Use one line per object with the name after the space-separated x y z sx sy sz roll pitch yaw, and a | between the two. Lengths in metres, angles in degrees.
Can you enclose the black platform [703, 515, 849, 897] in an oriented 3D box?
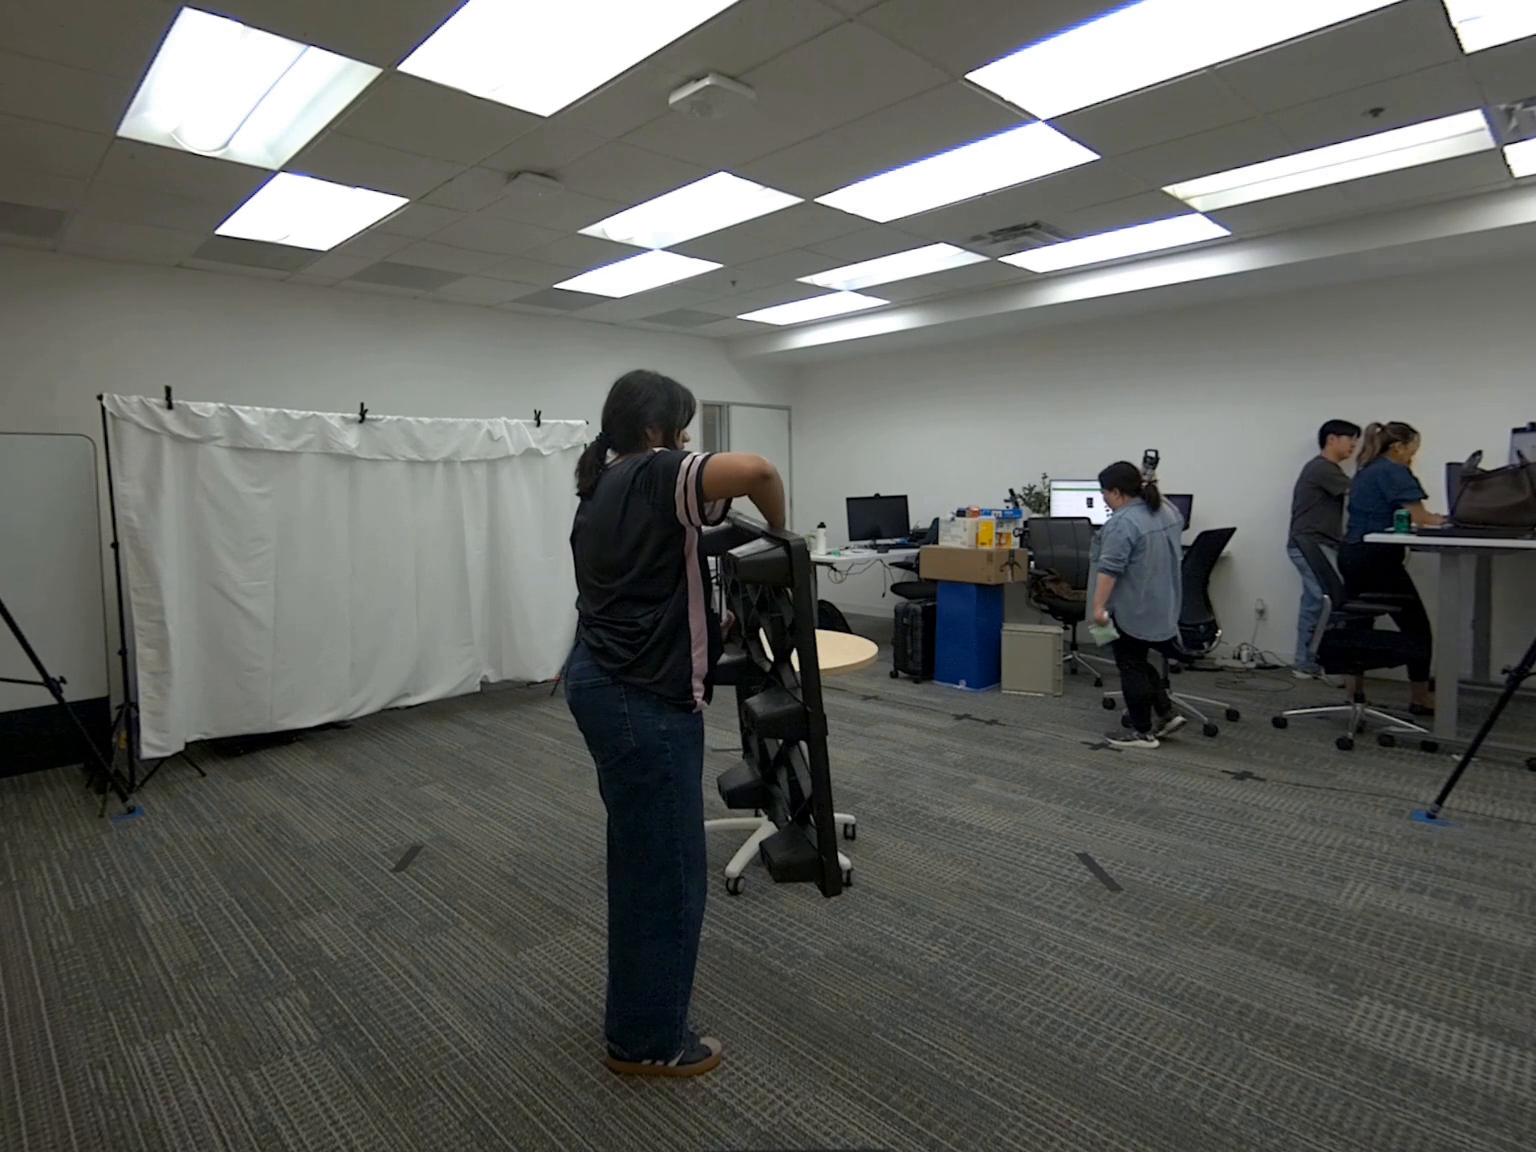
-0.035 0.257 2.048 0.141 0.798 0.619 -8 10 -17 | black platform
